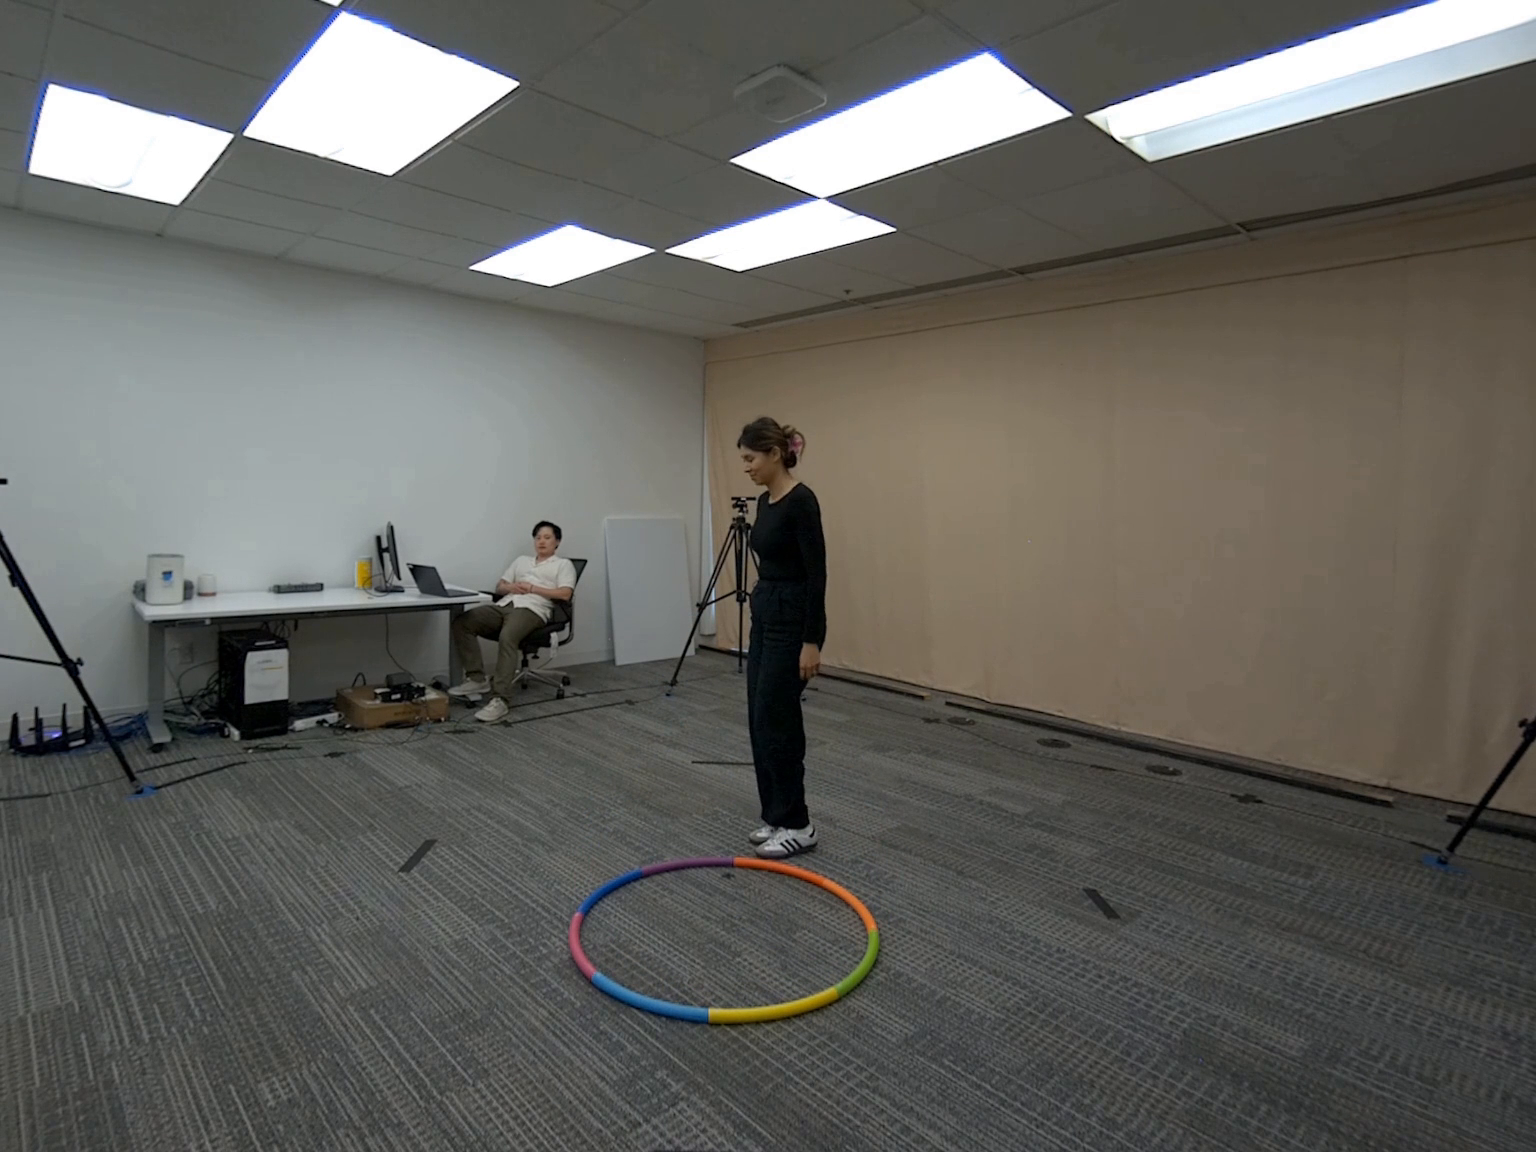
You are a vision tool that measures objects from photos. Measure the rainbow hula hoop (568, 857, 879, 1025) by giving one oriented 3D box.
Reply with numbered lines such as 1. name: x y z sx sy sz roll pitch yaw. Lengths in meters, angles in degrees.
1. rainbow hula hoop: -0.145 1.112 2.714 0.978 0.035 0.982 1 5 -1
